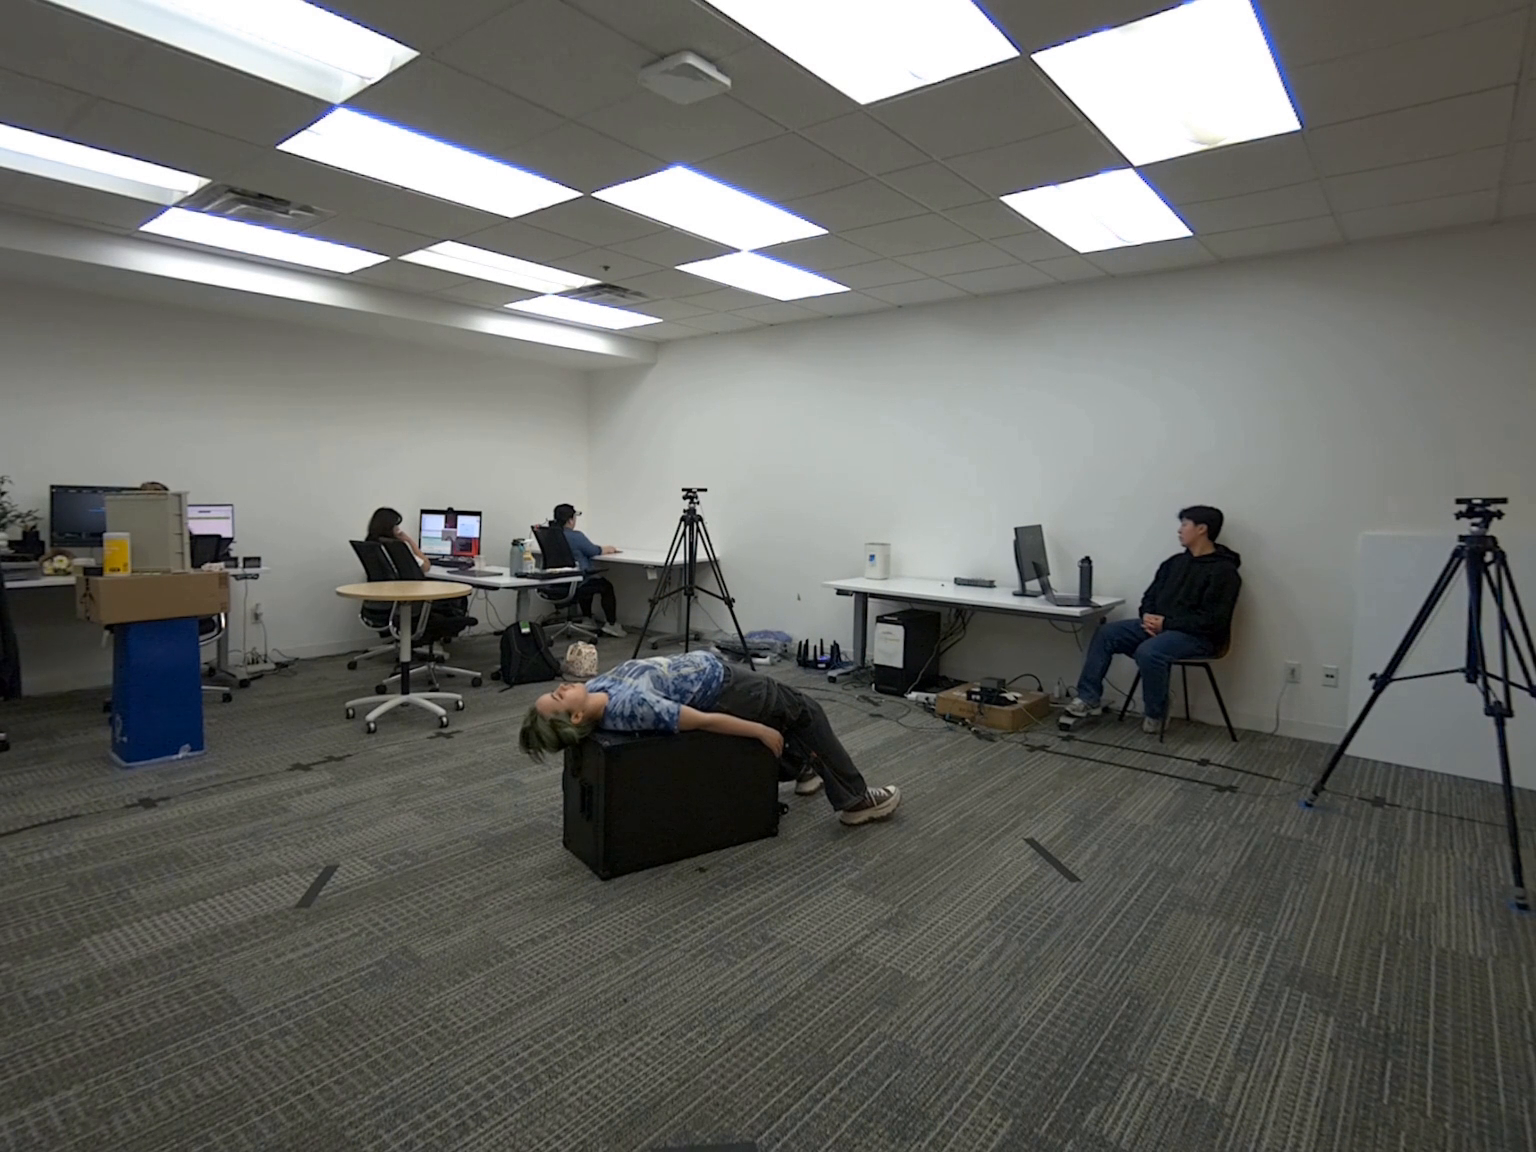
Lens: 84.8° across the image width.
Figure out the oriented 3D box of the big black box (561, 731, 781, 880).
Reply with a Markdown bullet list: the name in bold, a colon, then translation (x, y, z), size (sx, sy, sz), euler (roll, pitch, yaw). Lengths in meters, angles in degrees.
- **big black box**: translation (-0.361, 0.801, 3.367), size (0.837, 0.520, 0.409), euler (-1, 5, -34)
